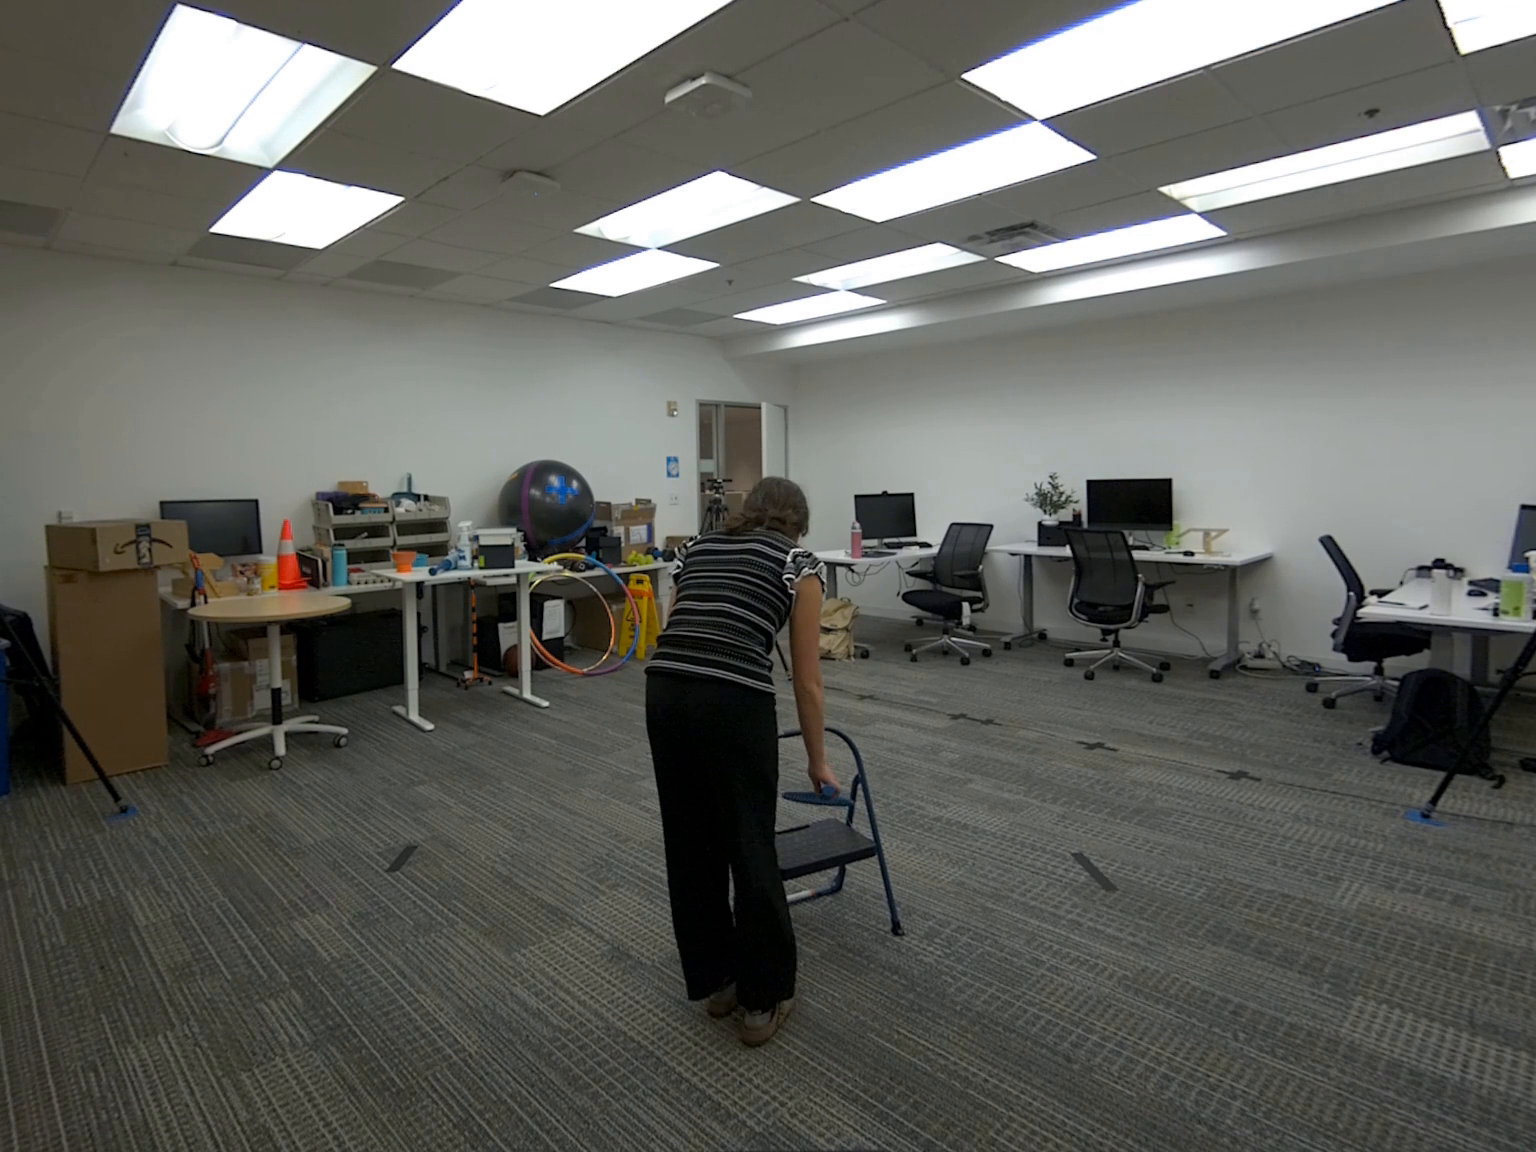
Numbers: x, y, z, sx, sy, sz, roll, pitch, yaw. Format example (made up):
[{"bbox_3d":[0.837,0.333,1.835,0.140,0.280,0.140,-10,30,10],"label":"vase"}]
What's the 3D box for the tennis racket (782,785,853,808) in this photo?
[{"bbox_3d":[0.145,0.648,2.442,0.214,0.032,0.426,8,-20,0],"label":"tennis racket"}]
